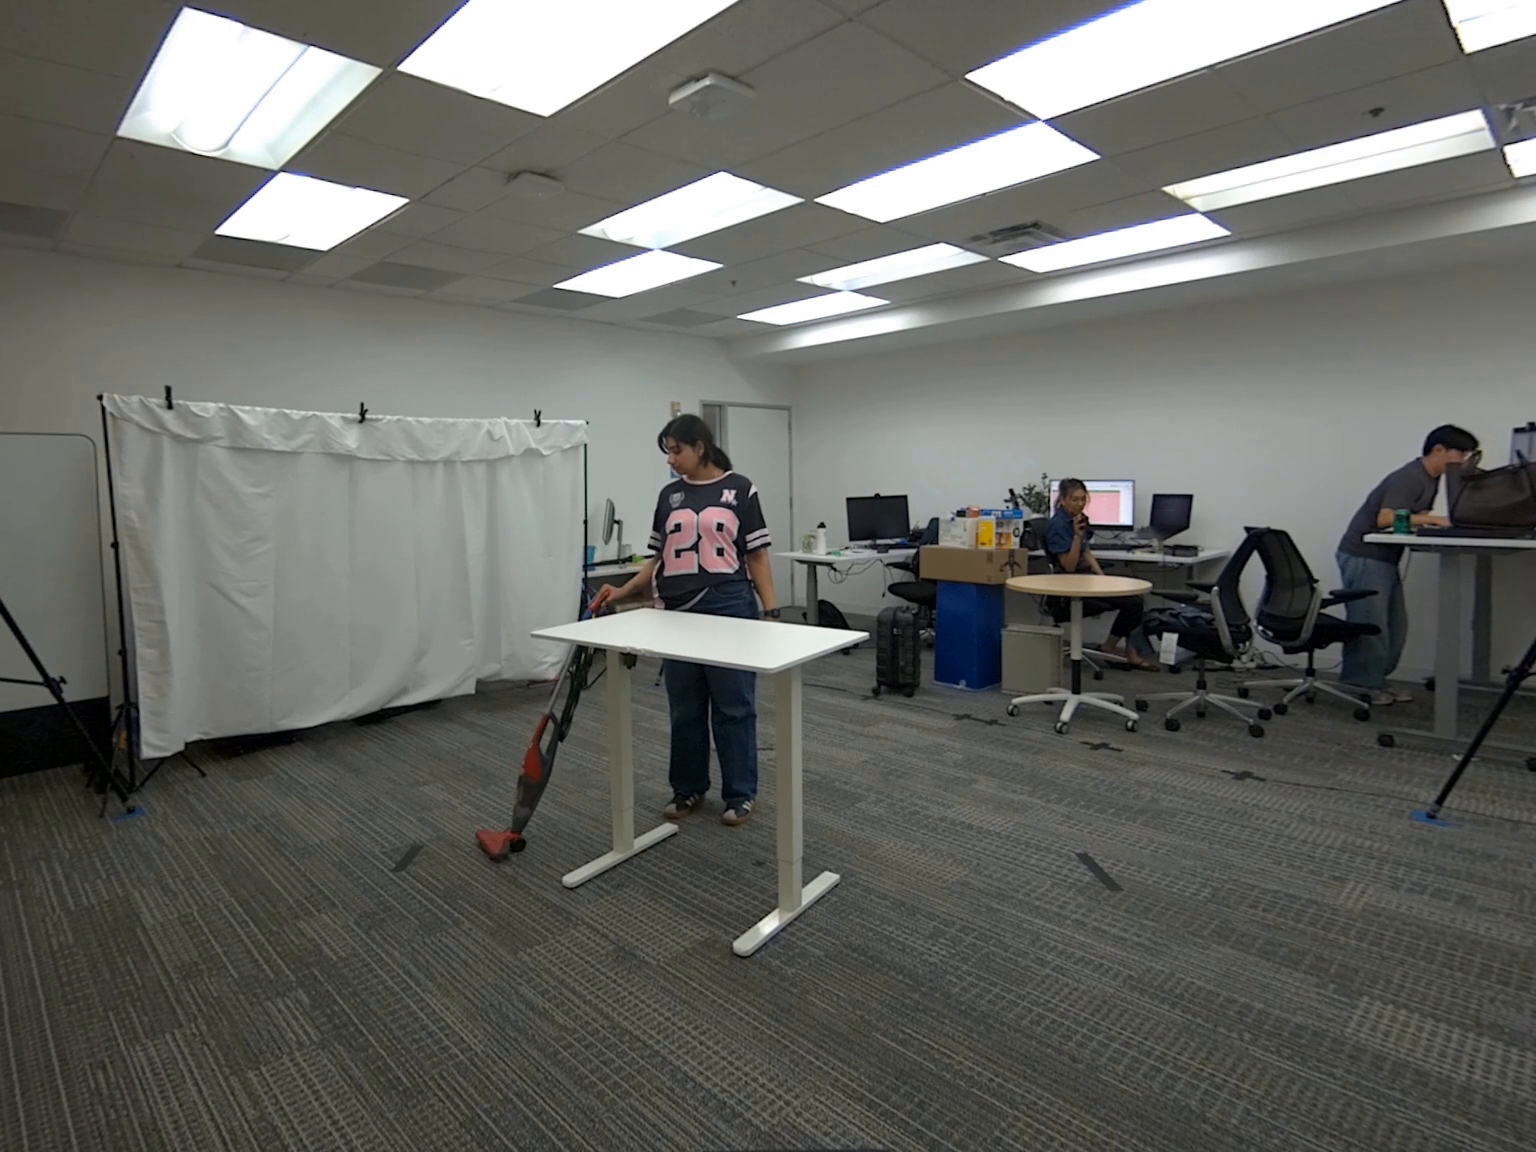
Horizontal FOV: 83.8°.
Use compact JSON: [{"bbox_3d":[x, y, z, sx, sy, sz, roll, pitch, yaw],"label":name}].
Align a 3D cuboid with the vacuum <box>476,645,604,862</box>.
[{"bbox_3d":[-0.837,0.560,3.390,0.139,1.055,0.260,30,-14,-35],"label":"vacuum"}]
